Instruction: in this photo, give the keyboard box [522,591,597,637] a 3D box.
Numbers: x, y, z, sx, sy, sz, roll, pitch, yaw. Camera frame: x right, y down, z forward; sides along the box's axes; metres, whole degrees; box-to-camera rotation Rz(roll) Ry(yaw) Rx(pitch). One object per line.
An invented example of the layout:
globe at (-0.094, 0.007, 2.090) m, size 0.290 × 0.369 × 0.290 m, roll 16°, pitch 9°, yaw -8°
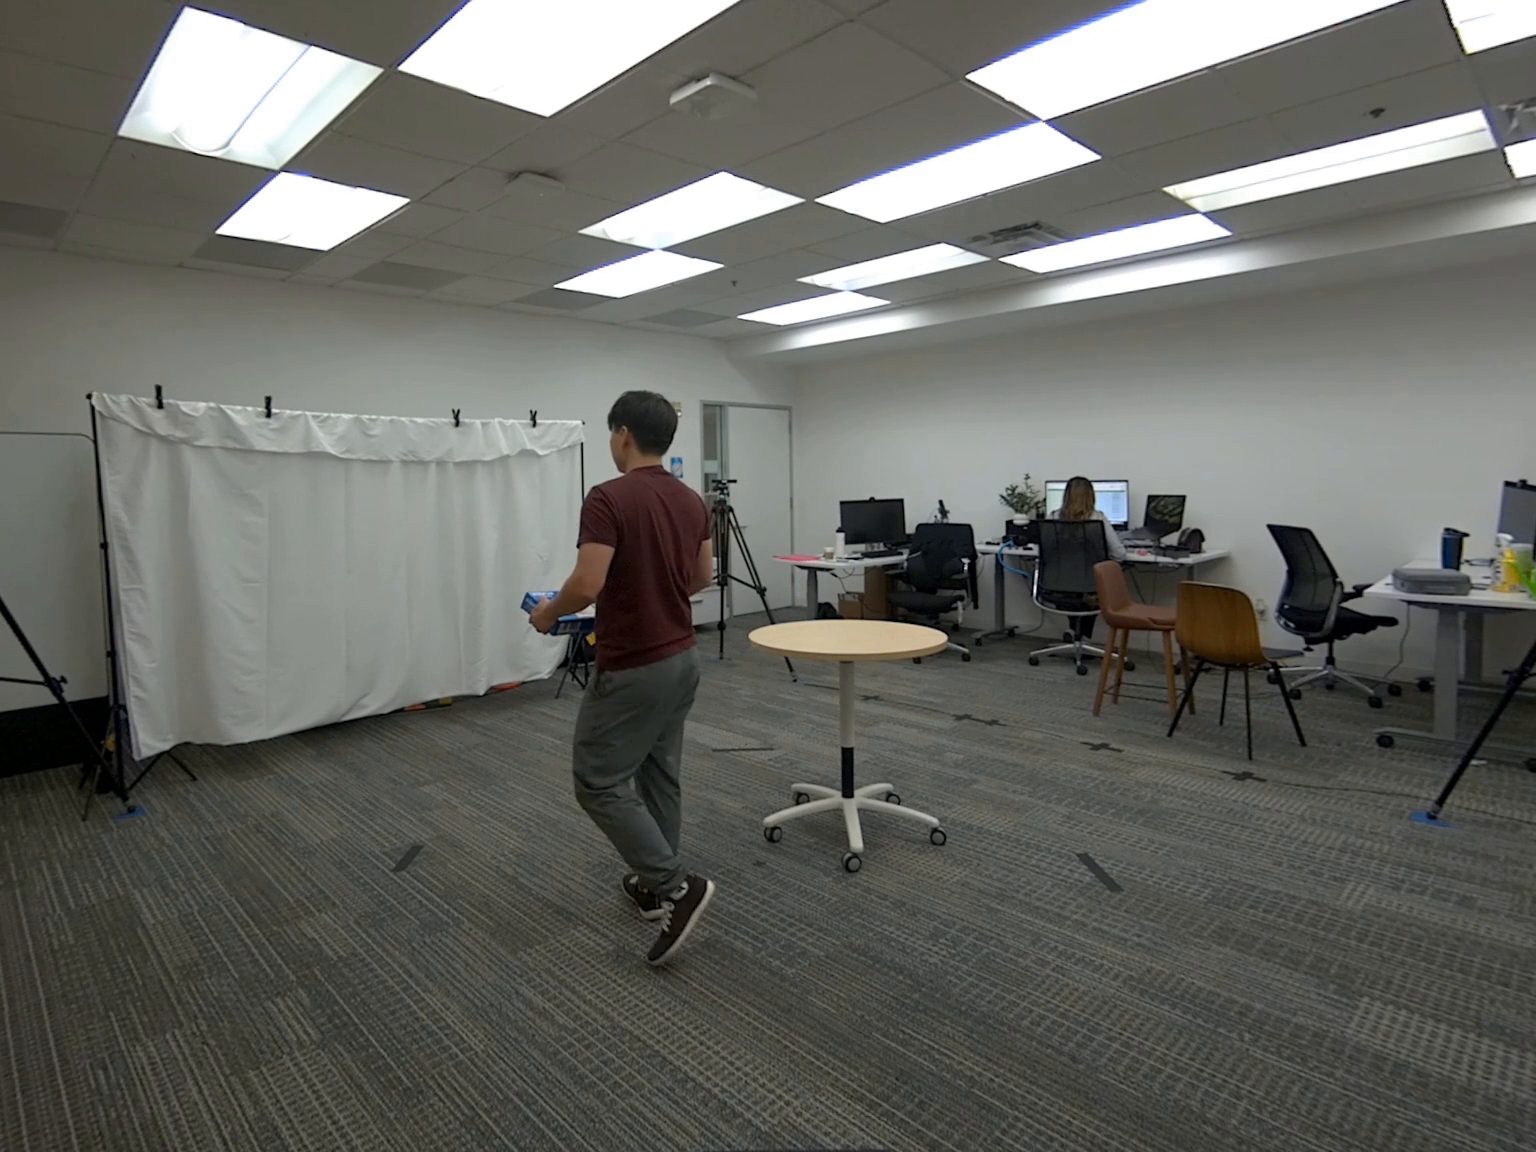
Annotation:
keyboard box at (-0.580, 0.113, 2.807) m, size 0.182 × 0.059 × 0.425 m, roll 29°, pitch 15°, yaw 28°
